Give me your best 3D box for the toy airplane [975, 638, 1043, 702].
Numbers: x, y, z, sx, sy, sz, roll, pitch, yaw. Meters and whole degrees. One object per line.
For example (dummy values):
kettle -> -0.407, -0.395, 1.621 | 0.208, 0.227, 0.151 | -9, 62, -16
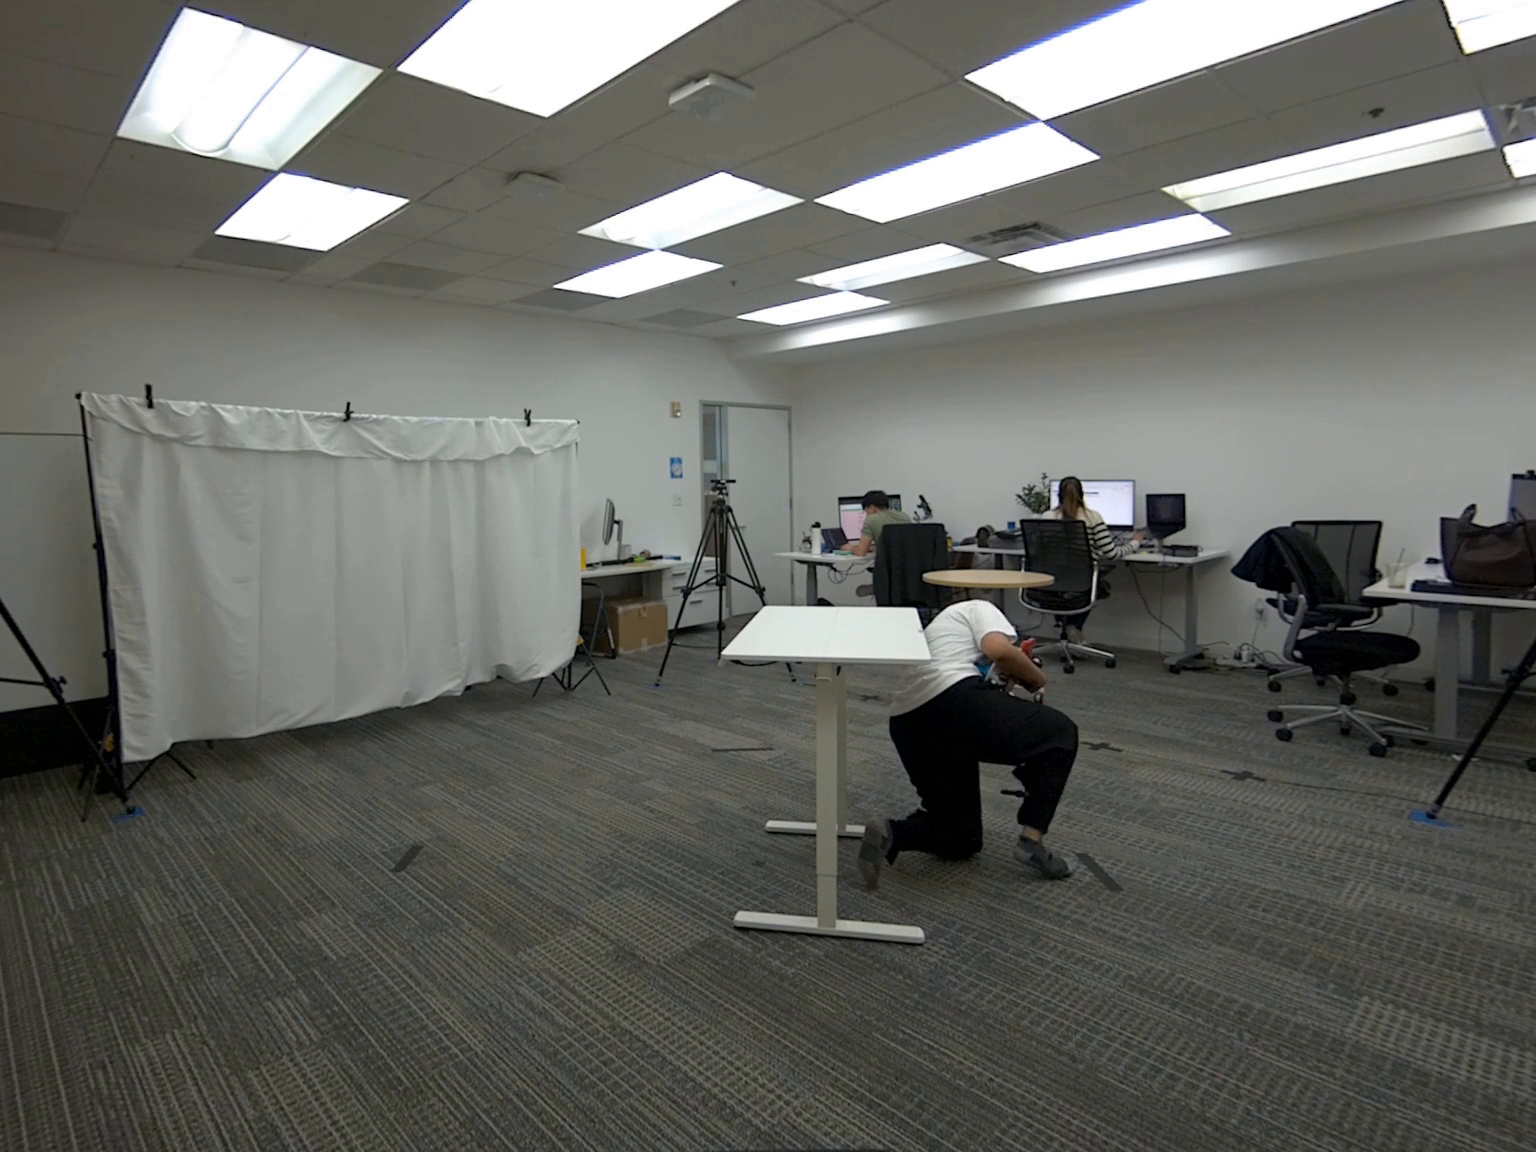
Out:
toy airplane -> 0.865, 0.328, 3.116 | 0.249, 0.251, 0.163 | 32, 9, -45
